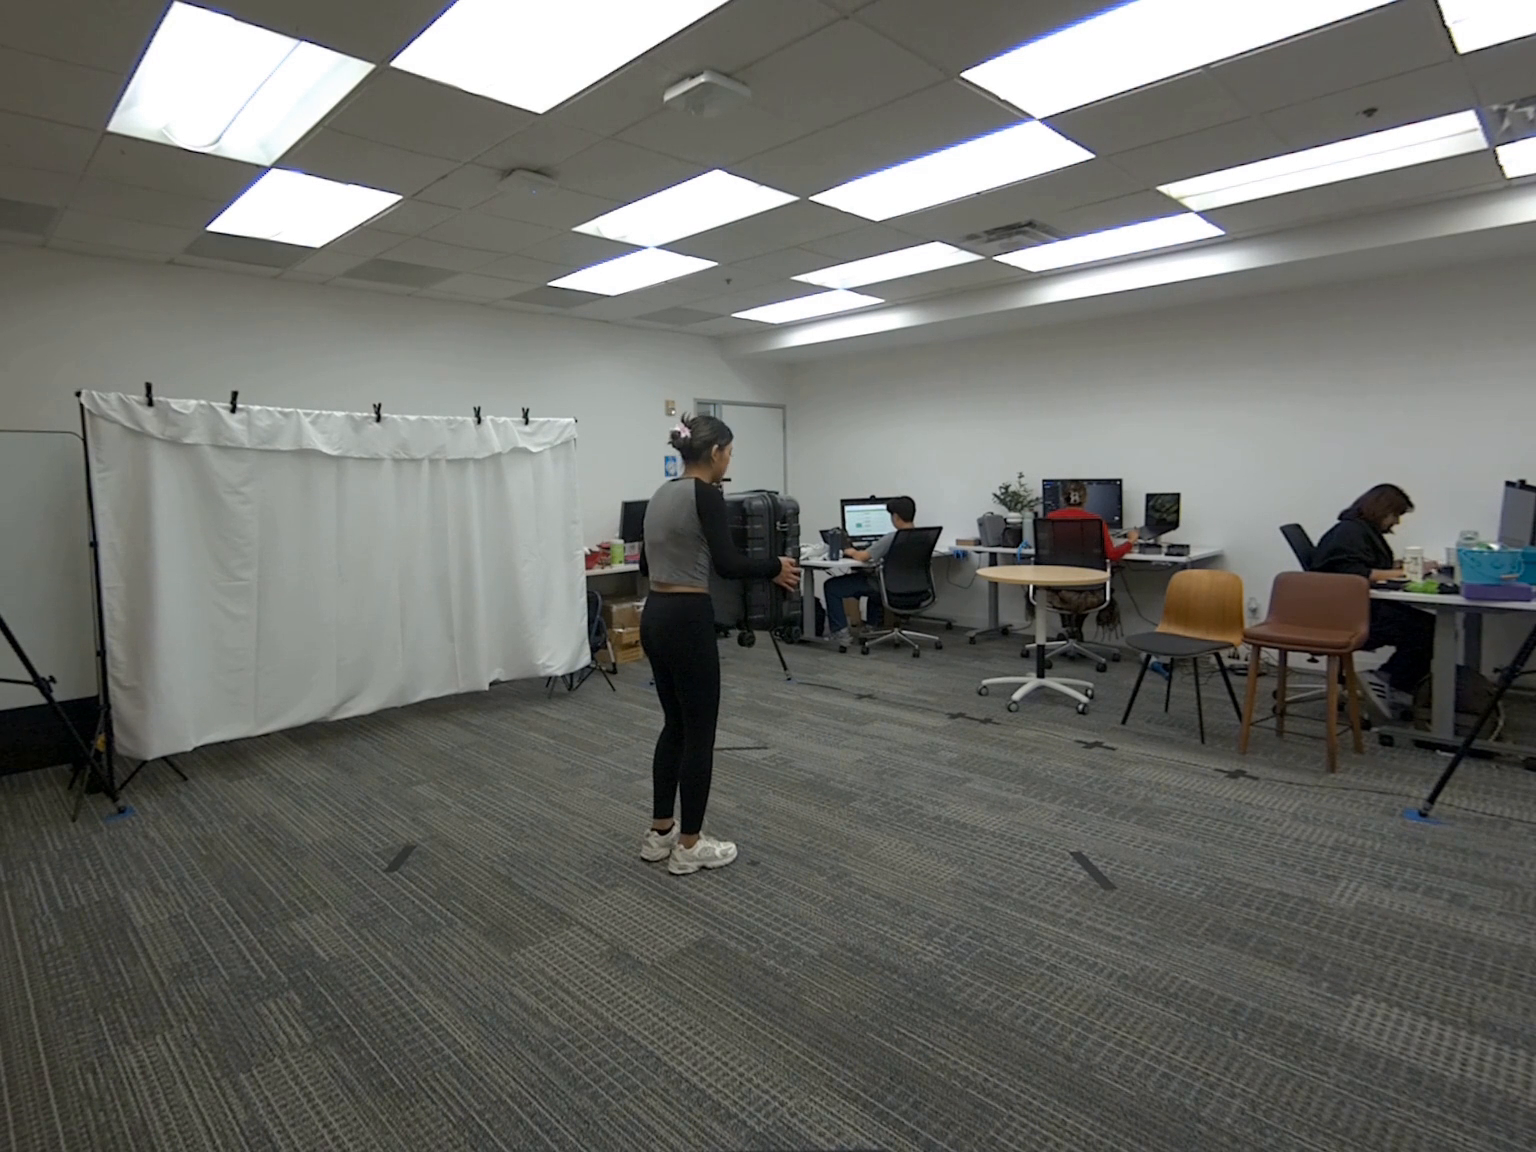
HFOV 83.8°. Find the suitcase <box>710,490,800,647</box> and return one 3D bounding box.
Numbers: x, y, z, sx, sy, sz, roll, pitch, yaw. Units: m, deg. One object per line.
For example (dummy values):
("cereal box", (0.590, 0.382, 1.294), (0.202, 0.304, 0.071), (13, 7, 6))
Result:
("suitcase", (-0.057, -0.042, 3.214), (0.242, 0.547, 0.386), (-2, 6, -32))
